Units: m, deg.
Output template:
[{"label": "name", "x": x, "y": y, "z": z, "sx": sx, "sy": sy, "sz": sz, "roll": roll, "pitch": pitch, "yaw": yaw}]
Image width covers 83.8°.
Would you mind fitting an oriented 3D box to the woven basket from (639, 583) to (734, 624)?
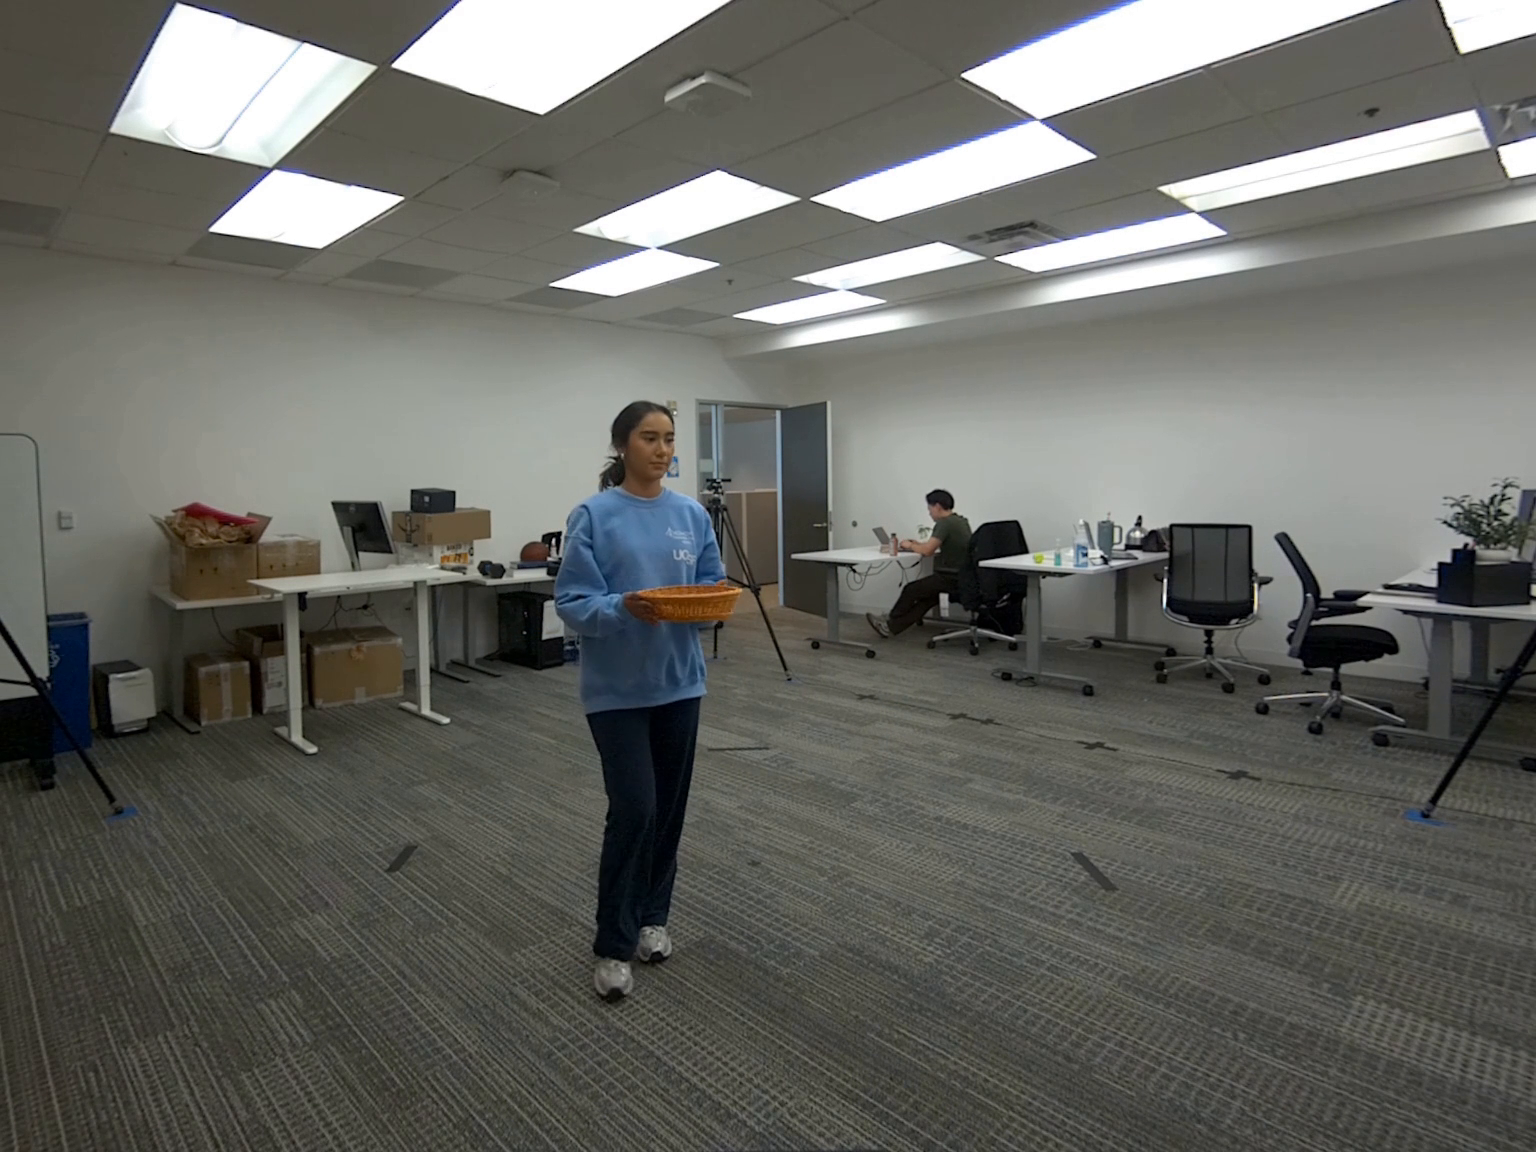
[{"label": "woven basket", "x": -0.259, "y": 0.082, "z": 2.266, "sx": 0.254, "sy": 0.073, "sz": 0.348, "roll": -3, "pitch": 2, "yaw": 5}]
